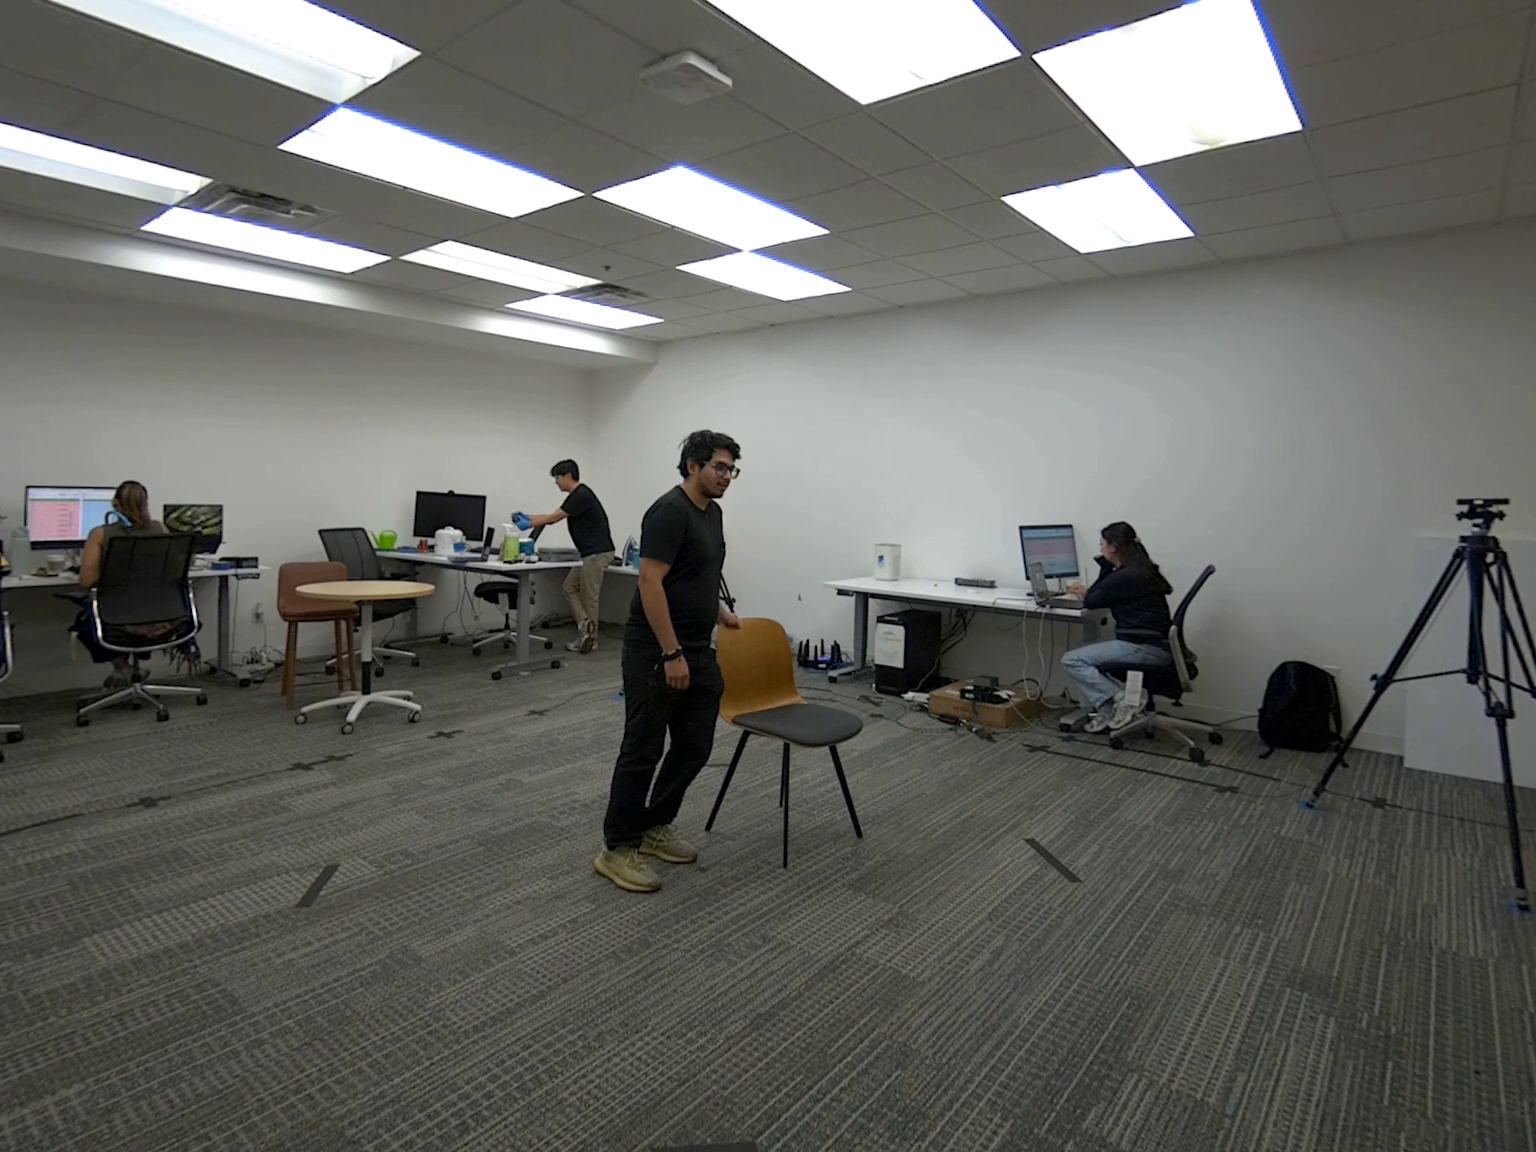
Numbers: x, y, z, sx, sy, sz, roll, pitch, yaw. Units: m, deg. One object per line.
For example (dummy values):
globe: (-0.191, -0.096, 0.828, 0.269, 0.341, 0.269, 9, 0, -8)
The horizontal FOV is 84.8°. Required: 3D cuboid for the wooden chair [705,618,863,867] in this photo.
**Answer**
wooden chair: (0.073, 0.620, 3.417, 0.463, 0.877, 0.539, -2, 0, -44)
